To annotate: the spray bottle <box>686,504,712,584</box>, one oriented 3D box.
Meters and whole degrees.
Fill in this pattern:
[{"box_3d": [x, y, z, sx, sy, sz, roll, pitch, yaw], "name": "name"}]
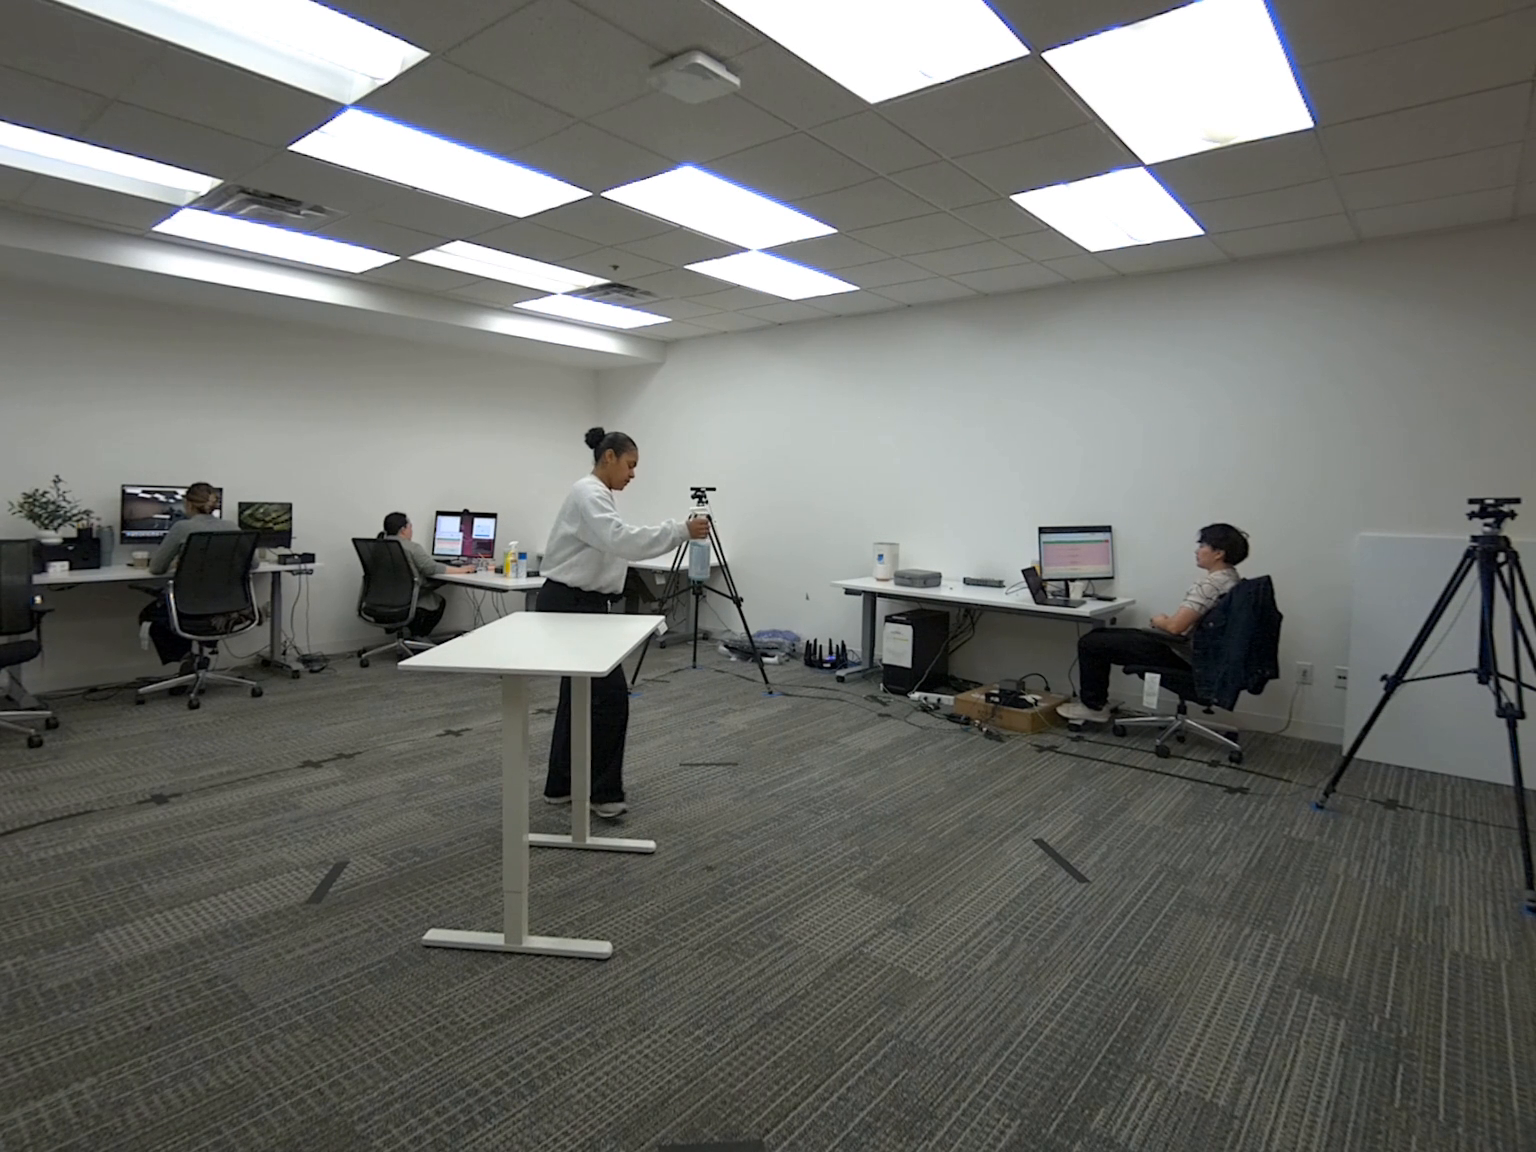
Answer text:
[{"box_3d": [-0.281, -0.133, 3.396, 0.089, 0.294, 0.088, 0, 13, -6], "name": "spray bottle"}]
